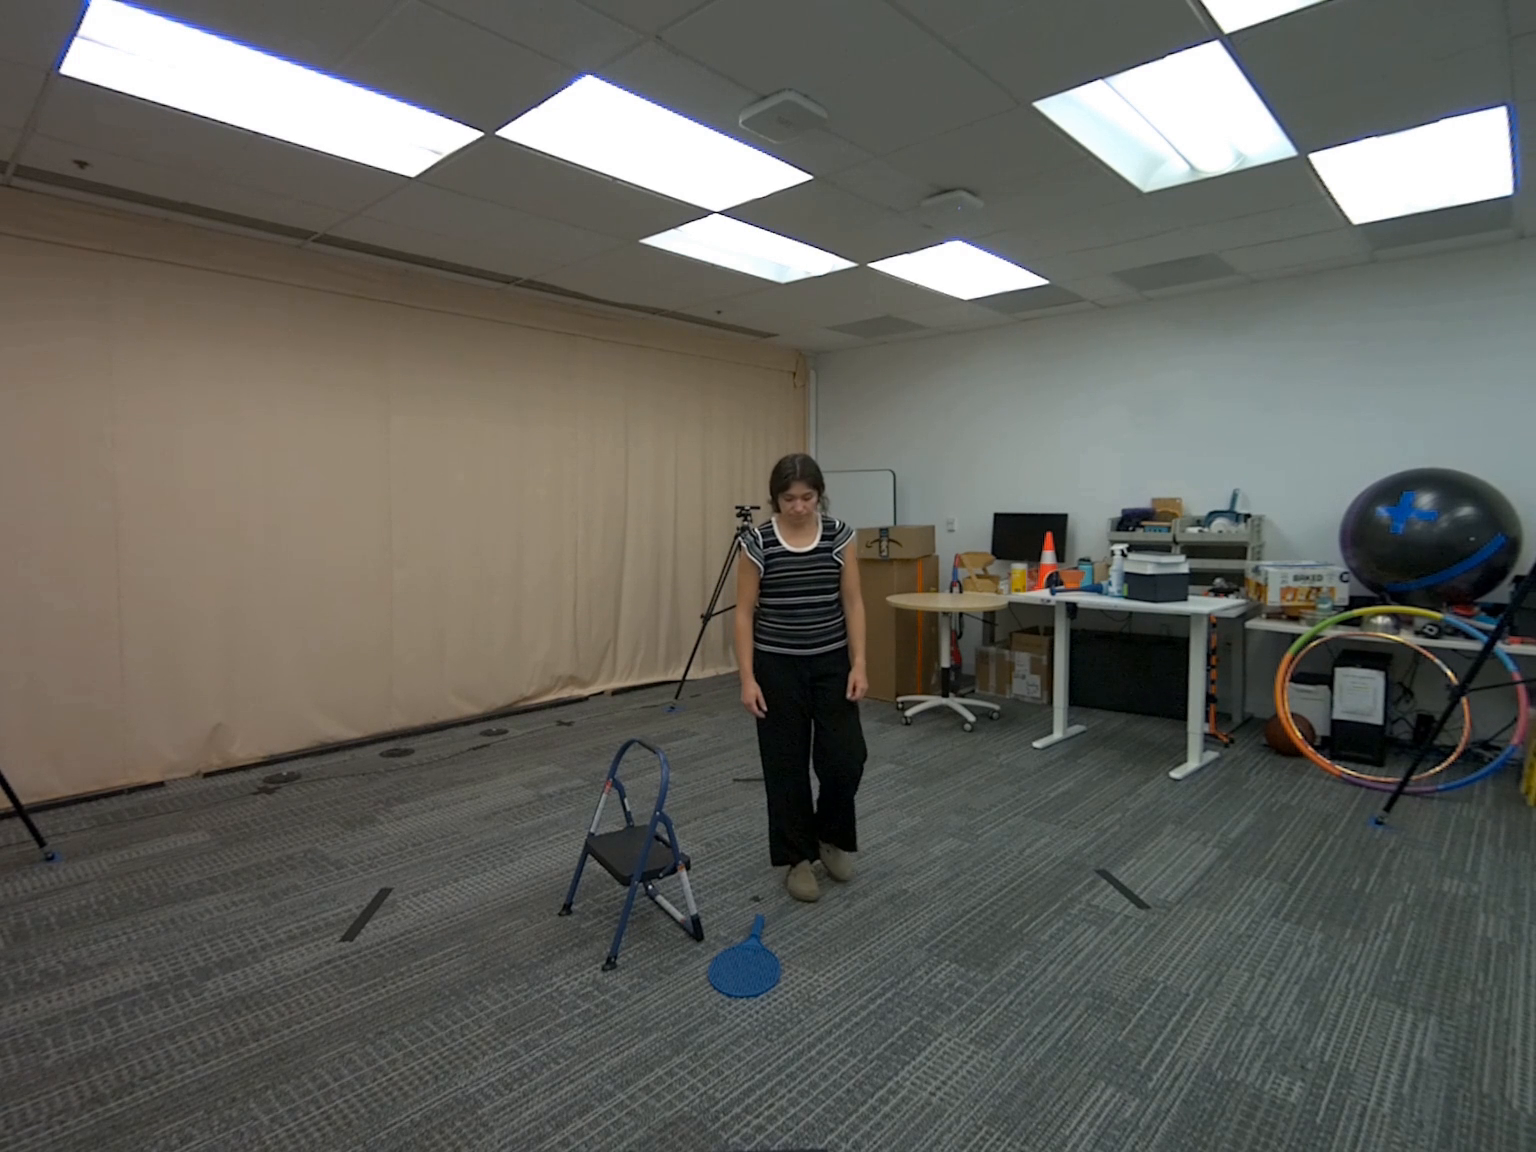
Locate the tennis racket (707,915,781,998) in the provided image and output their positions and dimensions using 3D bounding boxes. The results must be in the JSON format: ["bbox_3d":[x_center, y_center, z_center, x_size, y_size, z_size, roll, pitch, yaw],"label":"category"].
[{"bbox_3d":[-0.058,1.157,2.595,0.217,0.031,0.428,1,7,13],"label":"tennis racket"}]
